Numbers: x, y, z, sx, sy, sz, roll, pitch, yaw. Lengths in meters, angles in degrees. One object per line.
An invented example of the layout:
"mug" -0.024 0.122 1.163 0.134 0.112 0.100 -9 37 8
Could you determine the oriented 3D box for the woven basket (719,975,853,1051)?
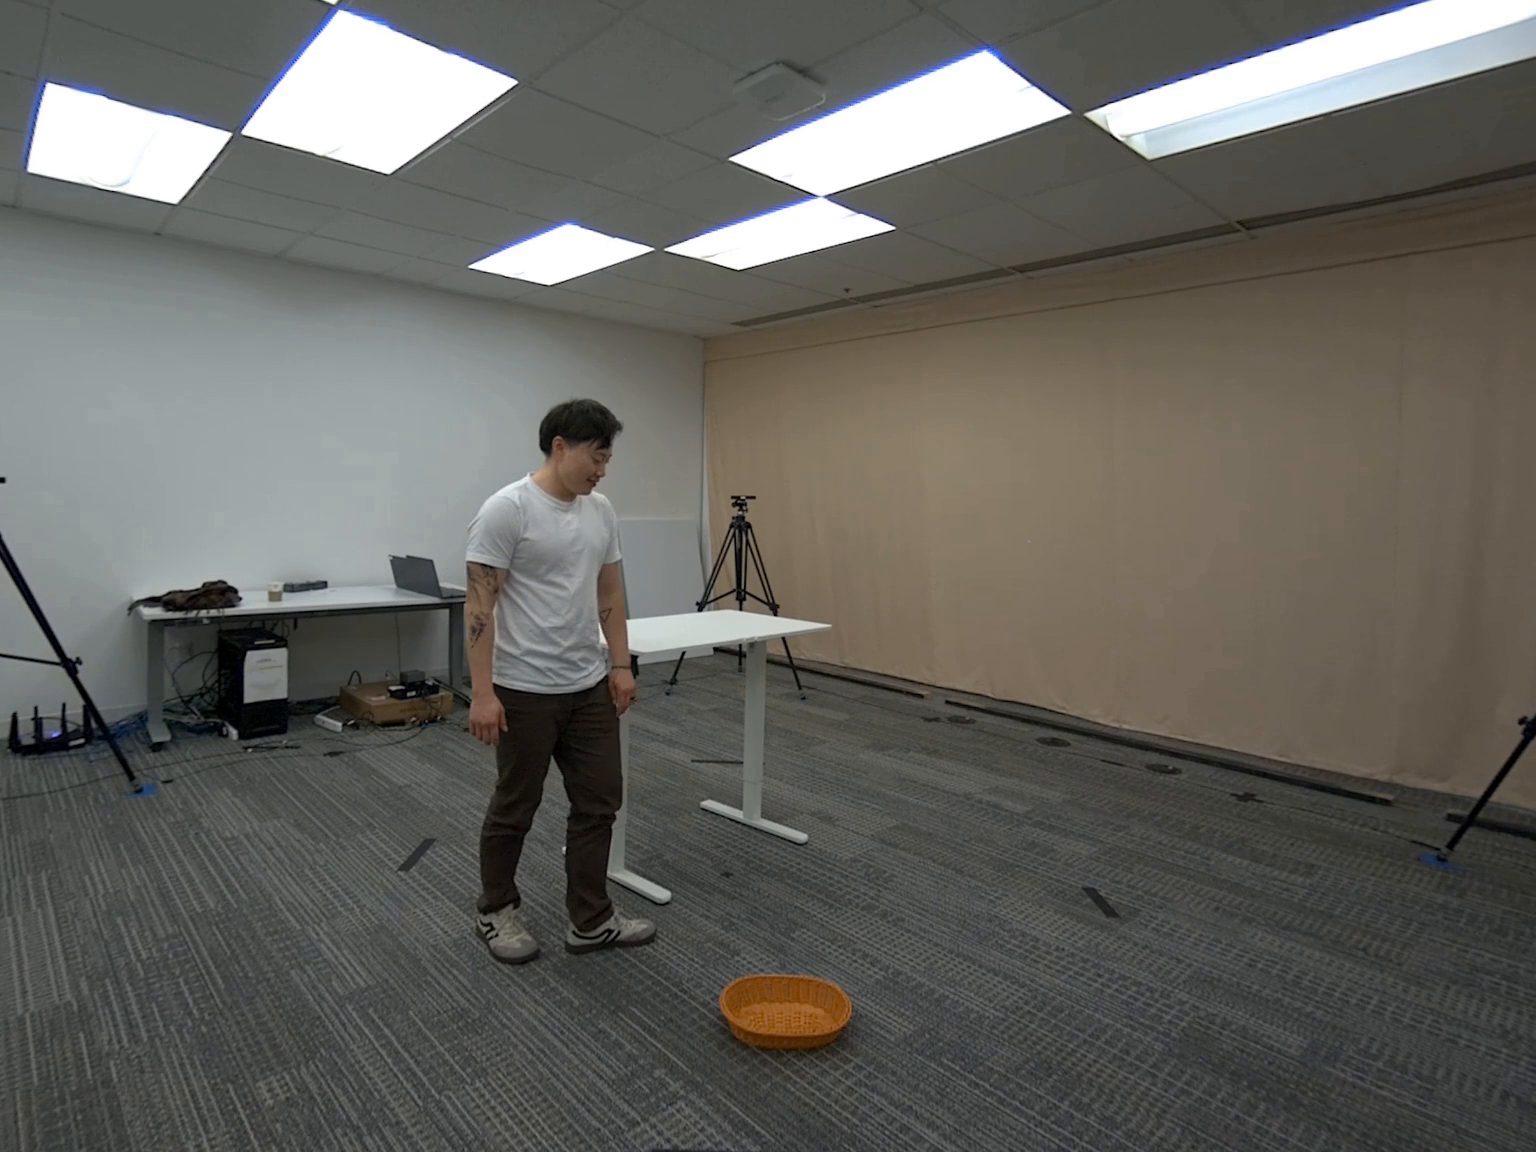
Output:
"woven basket" 0.037 1.152 2.209 0.351 0.073 0.253 2 6 1
